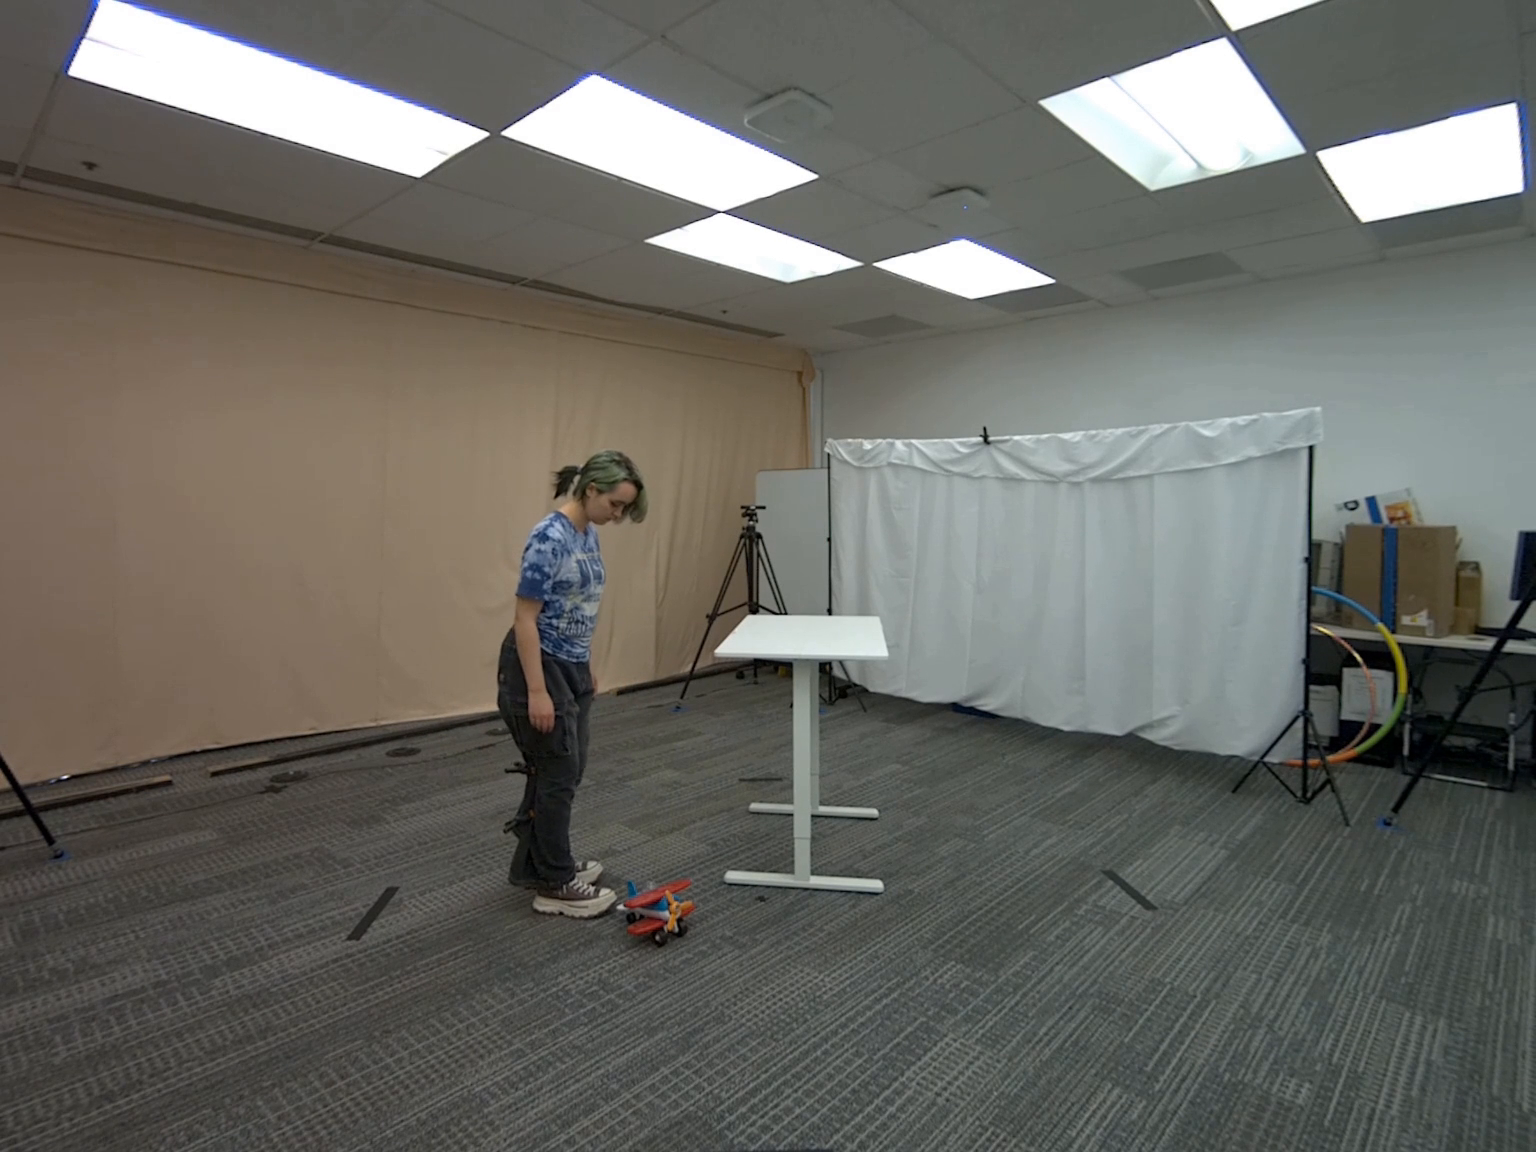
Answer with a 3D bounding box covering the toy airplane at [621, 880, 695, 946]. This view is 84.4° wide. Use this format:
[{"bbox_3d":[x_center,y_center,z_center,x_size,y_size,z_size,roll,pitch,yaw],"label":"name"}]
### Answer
[{"bbox_3d":[-0.388,1.091,2.744,0.264,0.156,0.247,3,5,16],"label":"toy airplane"}]
